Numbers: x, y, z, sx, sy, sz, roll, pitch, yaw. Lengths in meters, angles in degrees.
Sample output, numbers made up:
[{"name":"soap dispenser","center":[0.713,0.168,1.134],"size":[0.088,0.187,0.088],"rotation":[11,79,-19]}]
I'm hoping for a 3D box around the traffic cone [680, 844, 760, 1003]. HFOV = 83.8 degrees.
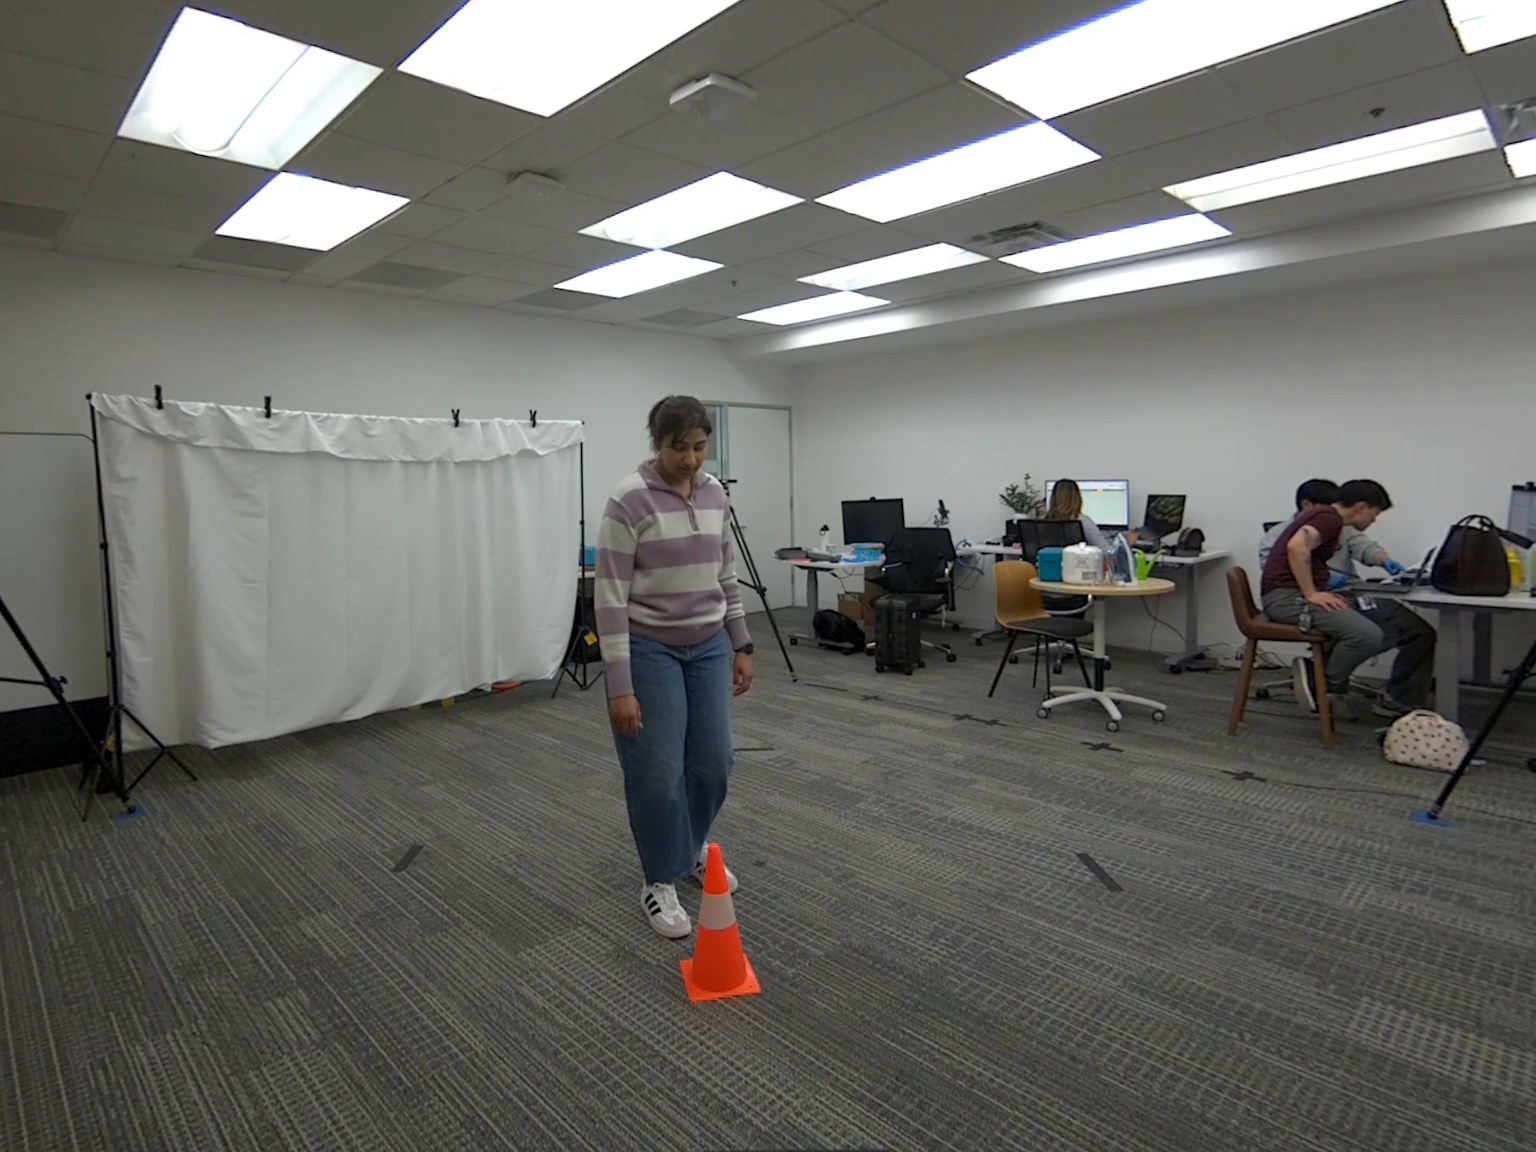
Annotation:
[{"name":"traffic cone","center":[-0.143,0.949,2.394],"size":[0.203,0.382,0.206],"rotation":[-4,4,-13]}]
